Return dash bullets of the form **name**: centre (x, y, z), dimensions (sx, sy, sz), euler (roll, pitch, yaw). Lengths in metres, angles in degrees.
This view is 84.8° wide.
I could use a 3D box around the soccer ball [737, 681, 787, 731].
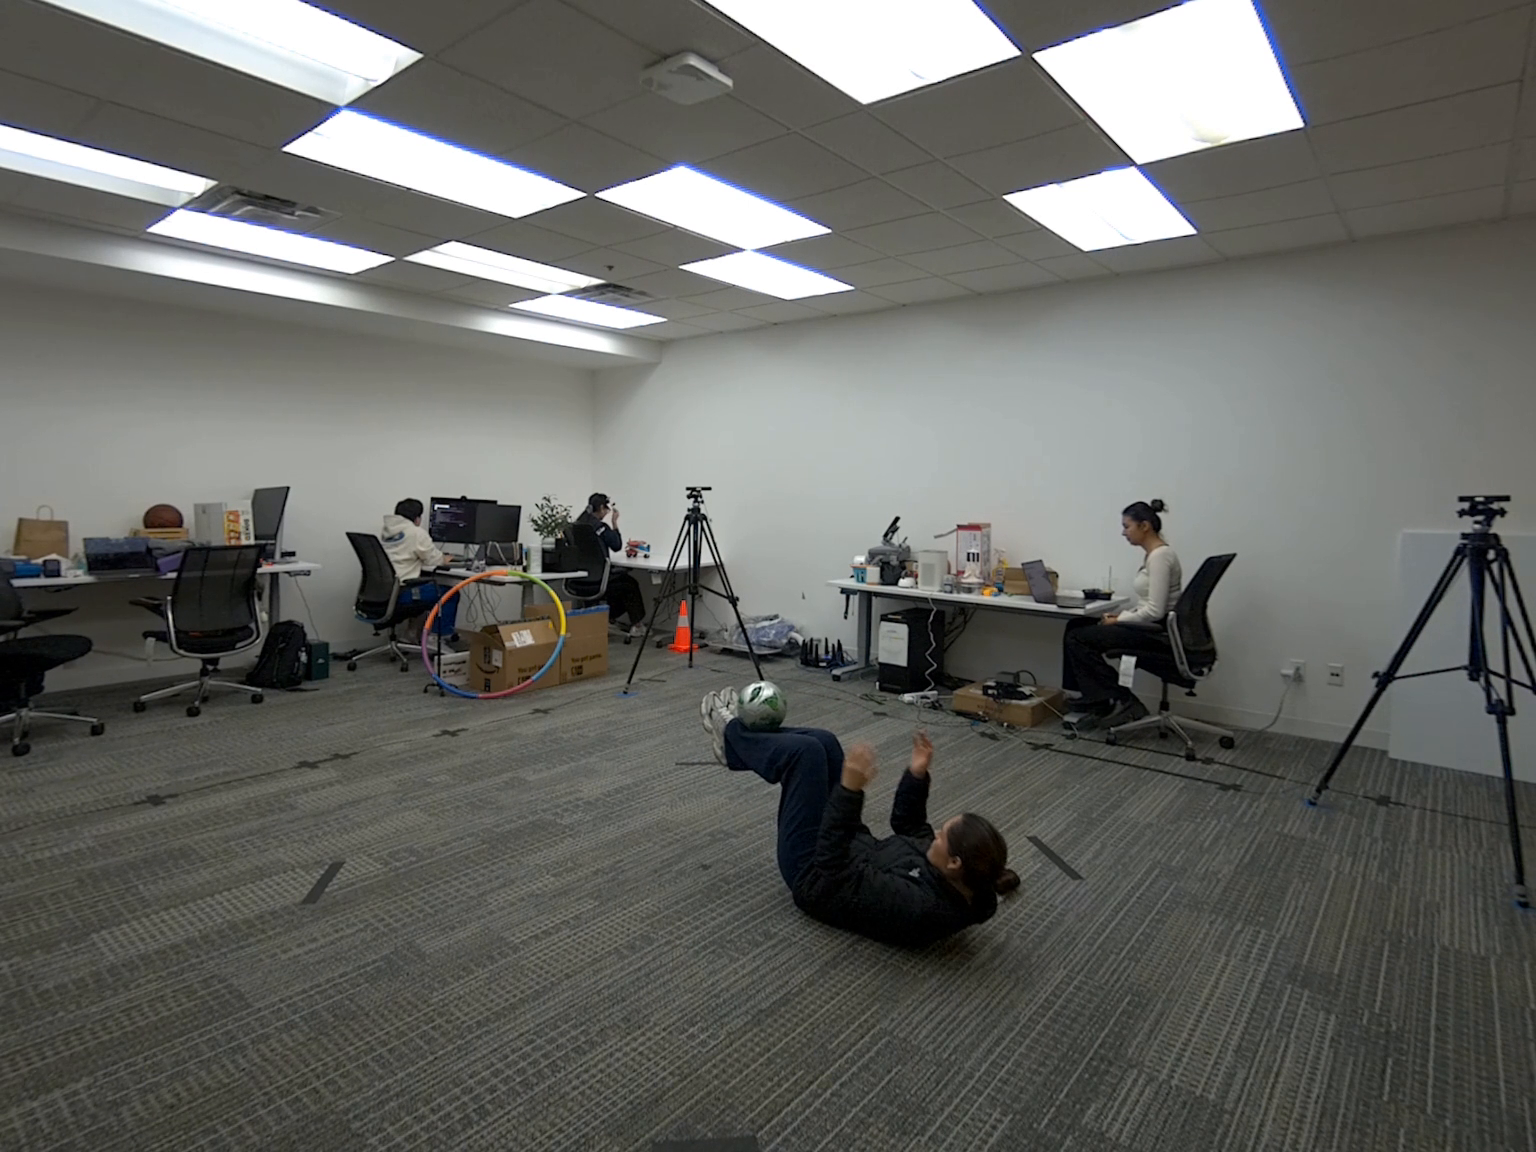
- **soccer ball**: centre (-0.033, 0.480, 3.128), dimensions (0.187, 0.187, 0.188), euler (-3, 3, -2)
